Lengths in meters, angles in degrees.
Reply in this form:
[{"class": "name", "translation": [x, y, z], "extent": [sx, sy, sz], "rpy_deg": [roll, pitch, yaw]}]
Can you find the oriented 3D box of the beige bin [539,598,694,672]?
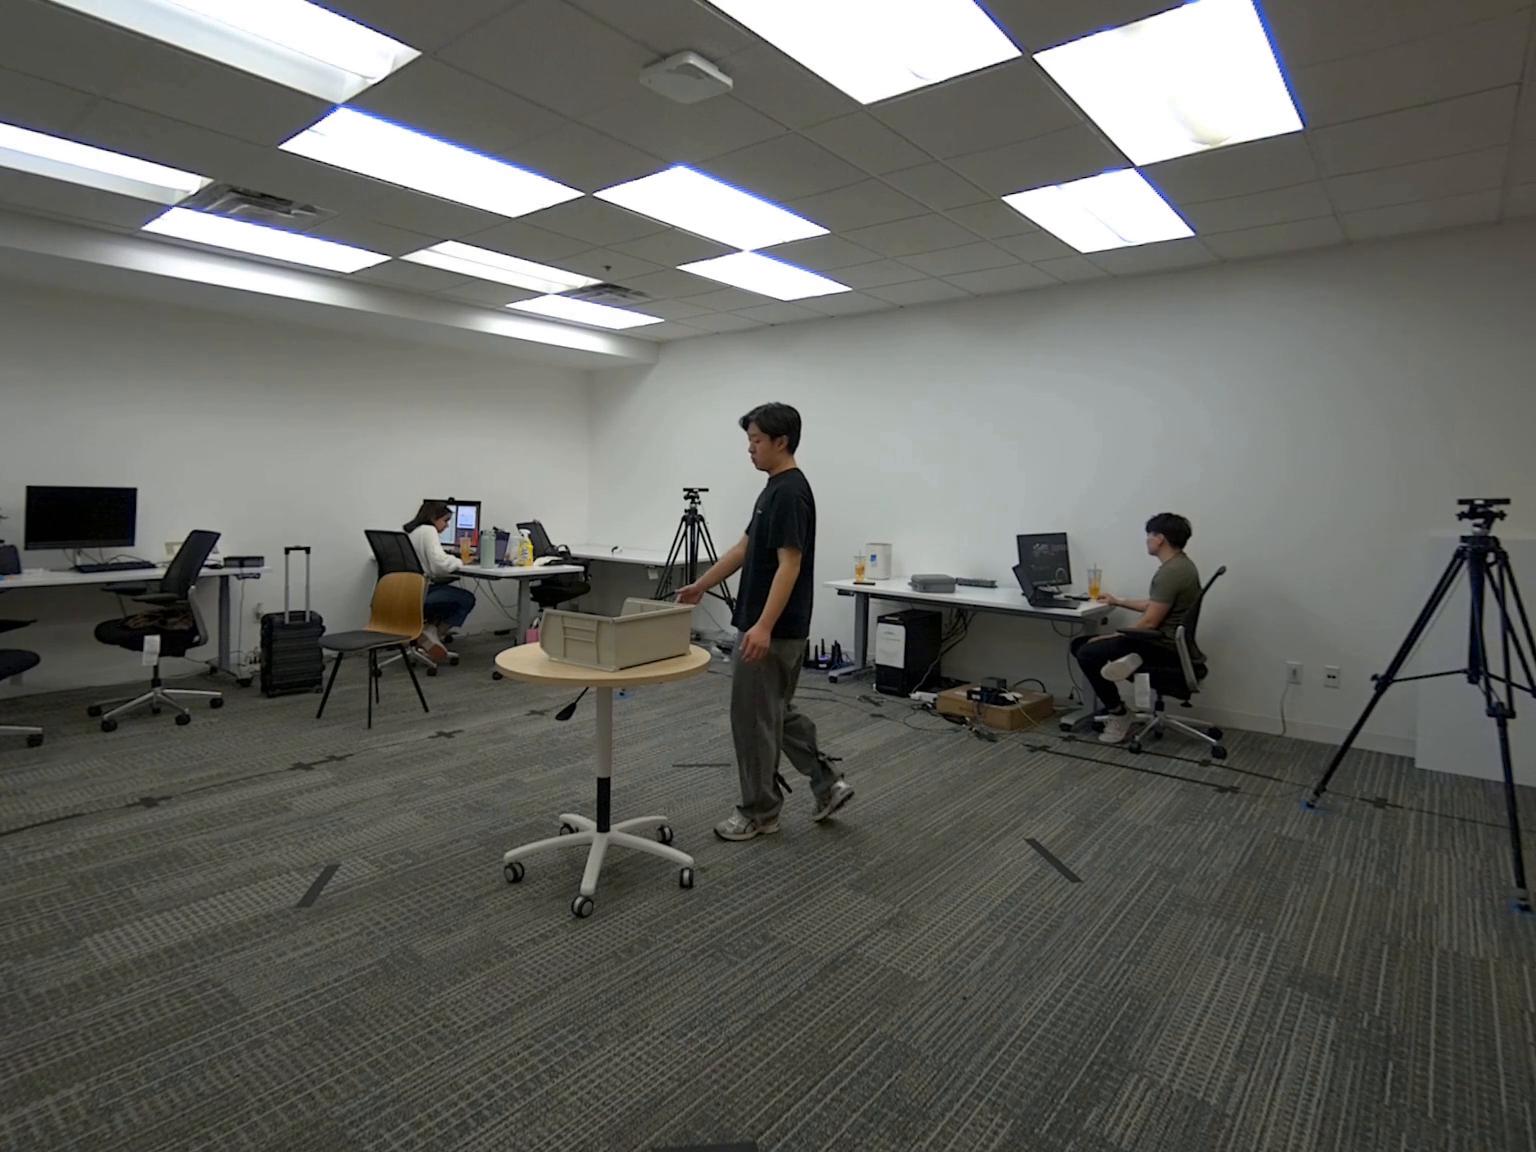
[{"class": "beige bin", "translation": [-0.549, 0.198, 3.041], "extent": [0.390, 0.188, 0.410], "rpy_deg": [6, 7, 34]}]
